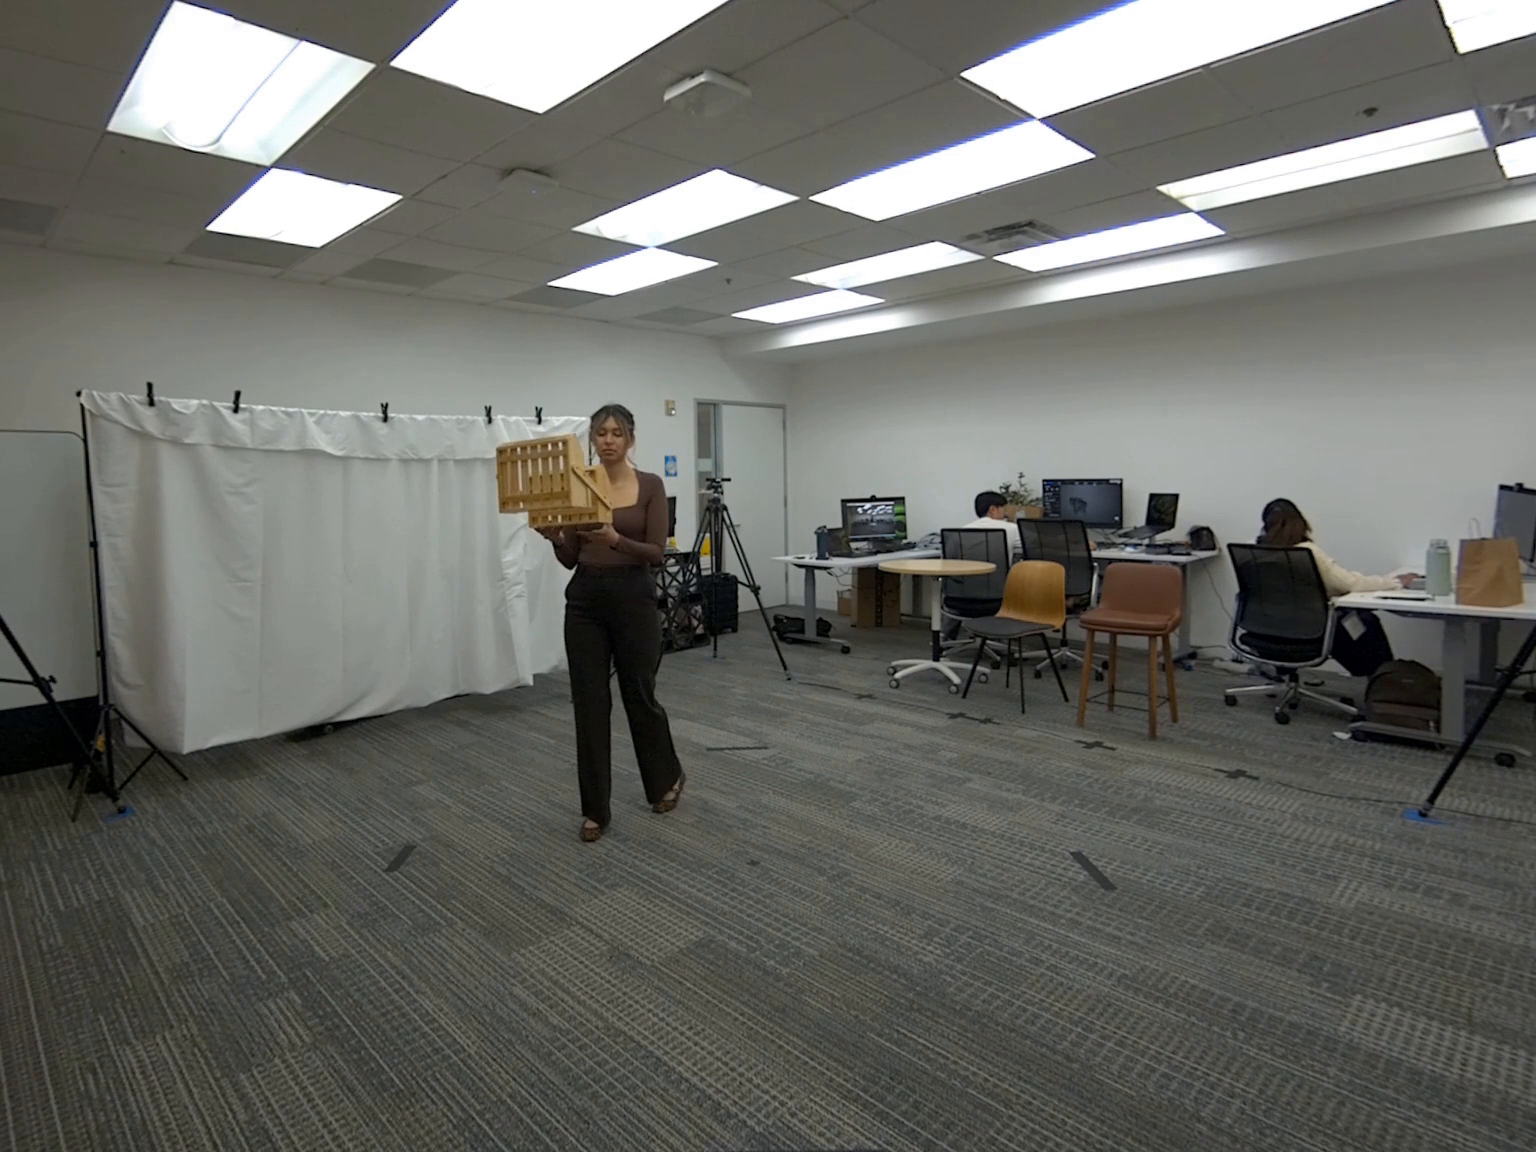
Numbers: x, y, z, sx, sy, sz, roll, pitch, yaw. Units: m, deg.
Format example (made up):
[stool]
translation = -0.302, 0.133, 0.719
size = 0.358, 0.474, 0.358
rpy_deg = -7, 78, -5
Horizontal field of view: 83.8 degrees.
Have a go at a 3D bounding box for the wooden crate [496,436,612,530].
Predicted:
[wooden crate]
translation = -0.764, -0.330, 3.055
size = 0.330, 0.302, 0.268
rpy_deg = -4, 0, 21
